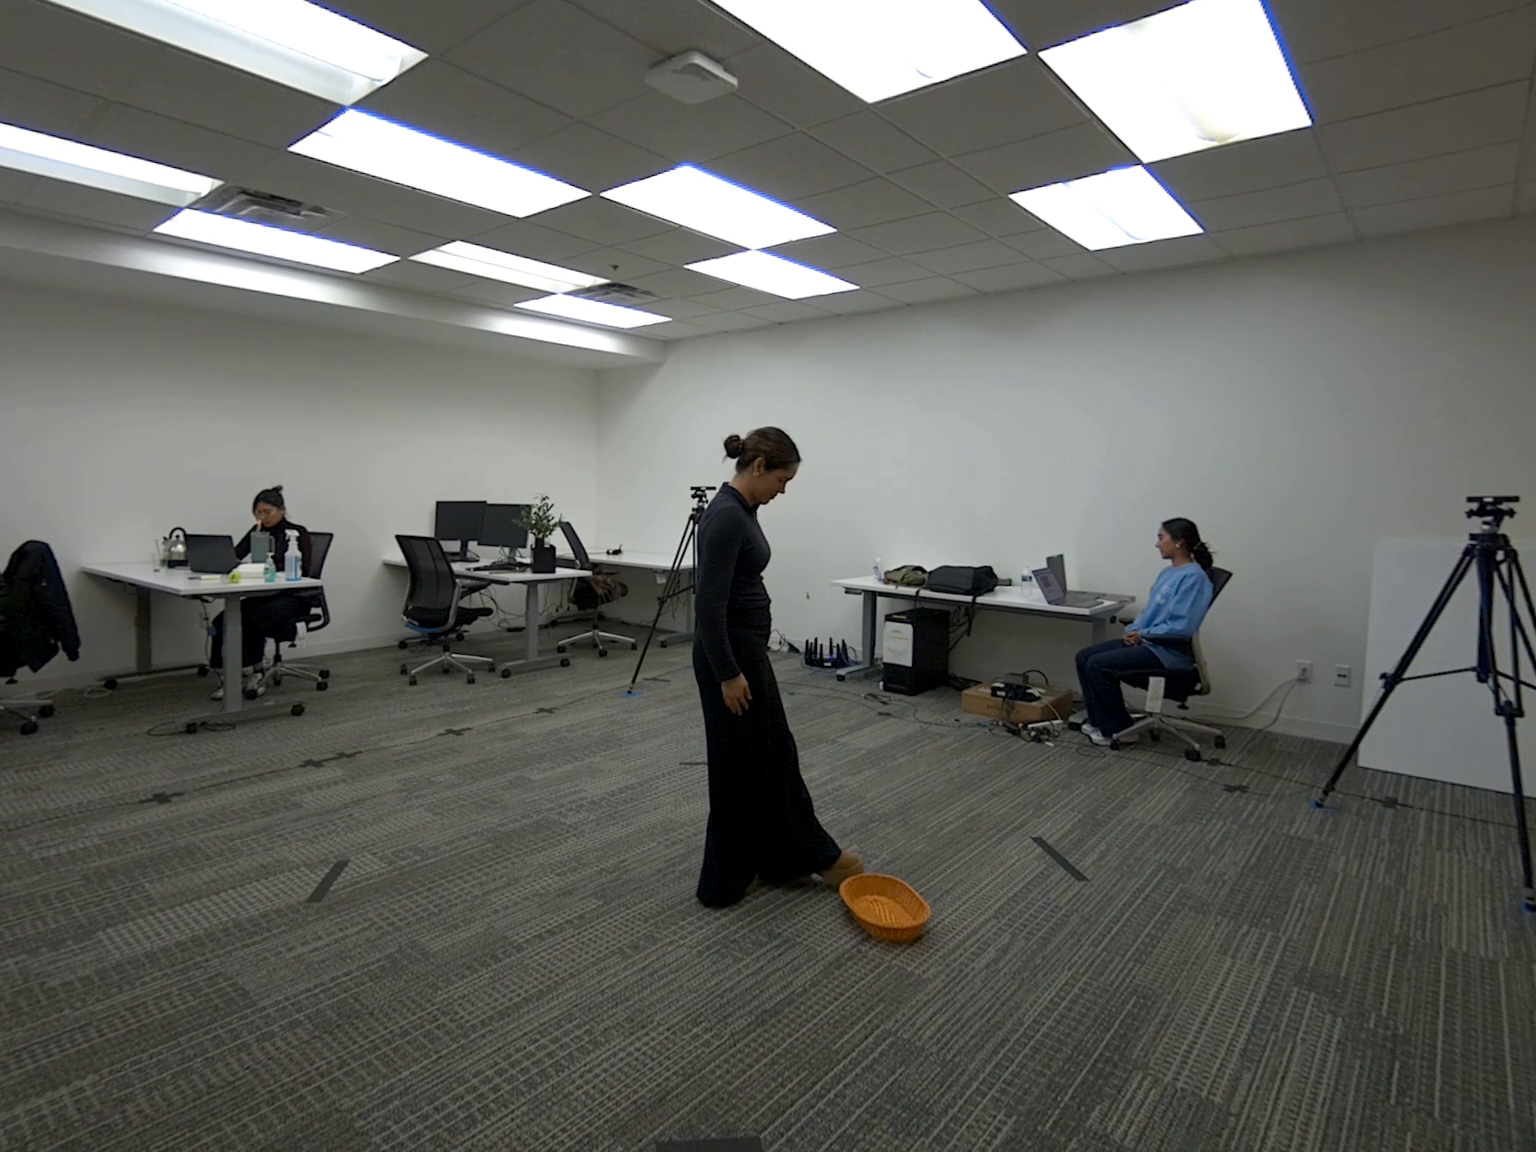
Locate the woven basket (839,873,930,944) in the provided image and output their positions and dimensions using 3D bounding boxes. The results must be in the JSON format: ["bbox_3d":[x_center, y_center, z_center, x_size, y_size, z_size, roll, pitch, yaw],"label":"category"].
[{"bbox_3d":[0.369,1.074,2.758,0.248,0.073,0.358,-3,7,-16],"label":"woven basket"}]
